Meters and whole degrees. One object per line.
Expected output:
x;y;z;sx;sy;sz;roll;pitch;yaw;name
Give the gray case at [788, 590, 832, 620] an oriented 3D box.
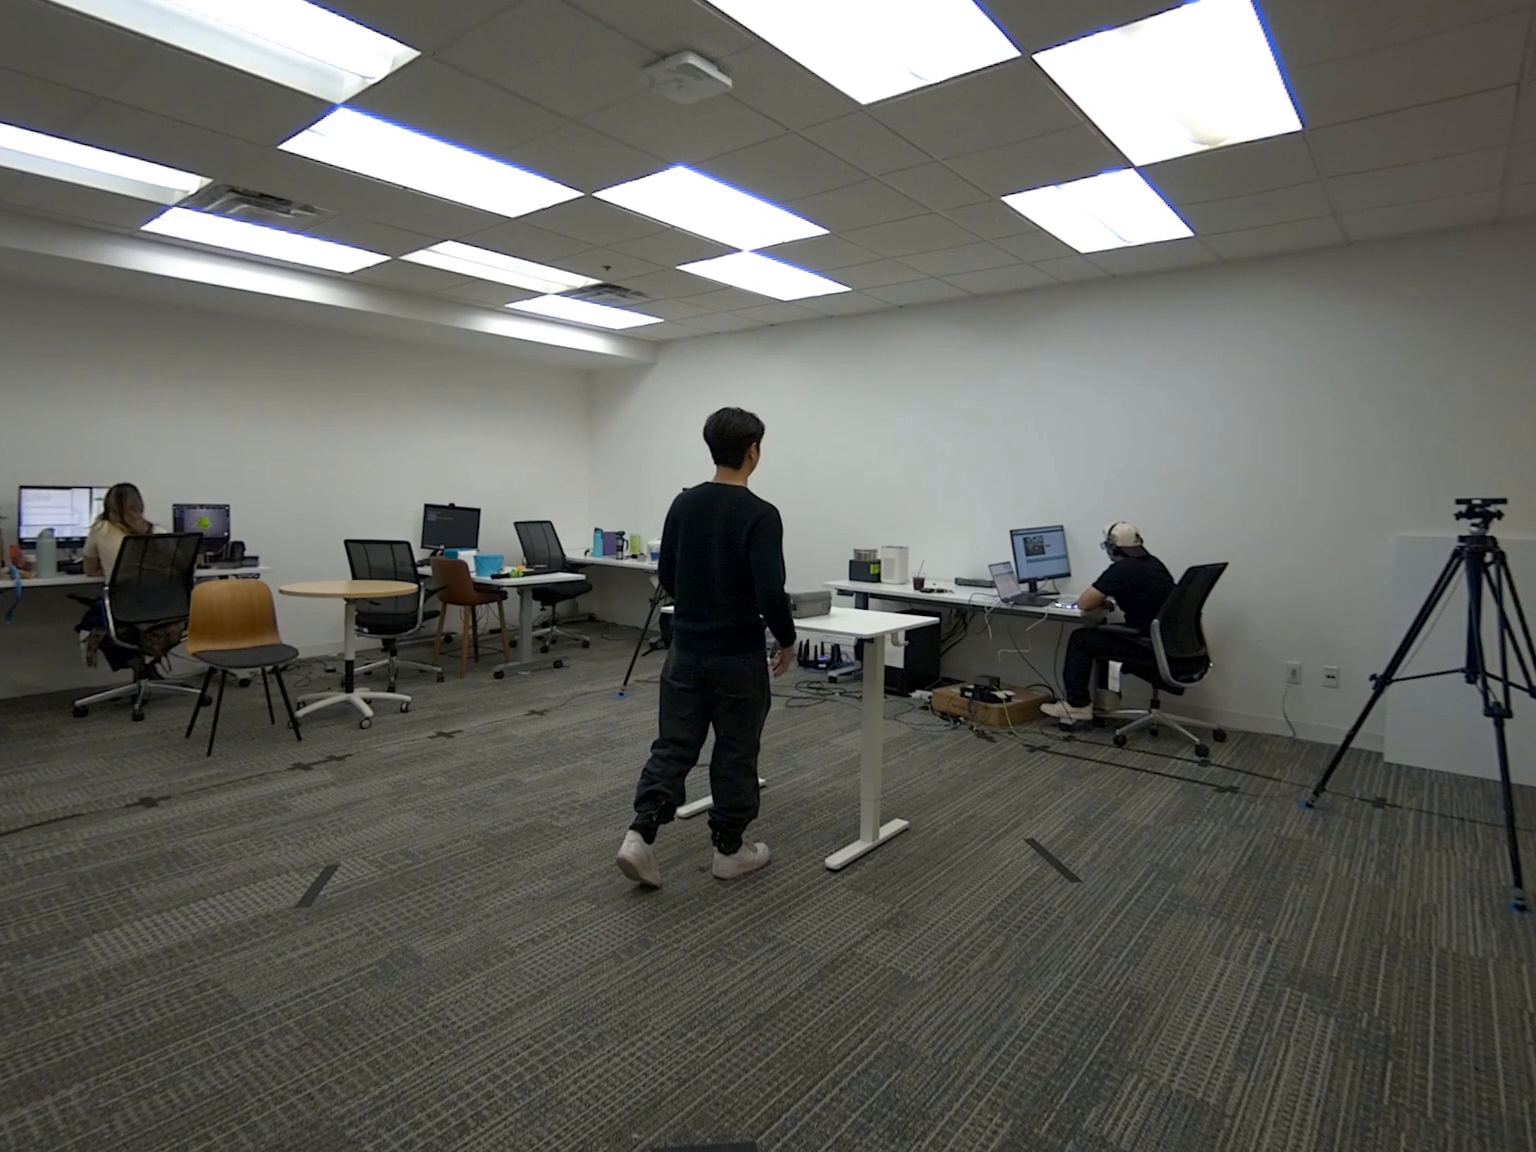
0.091;0.100;3.525;0.265;0.104;0.253;3;4;39;gray case
